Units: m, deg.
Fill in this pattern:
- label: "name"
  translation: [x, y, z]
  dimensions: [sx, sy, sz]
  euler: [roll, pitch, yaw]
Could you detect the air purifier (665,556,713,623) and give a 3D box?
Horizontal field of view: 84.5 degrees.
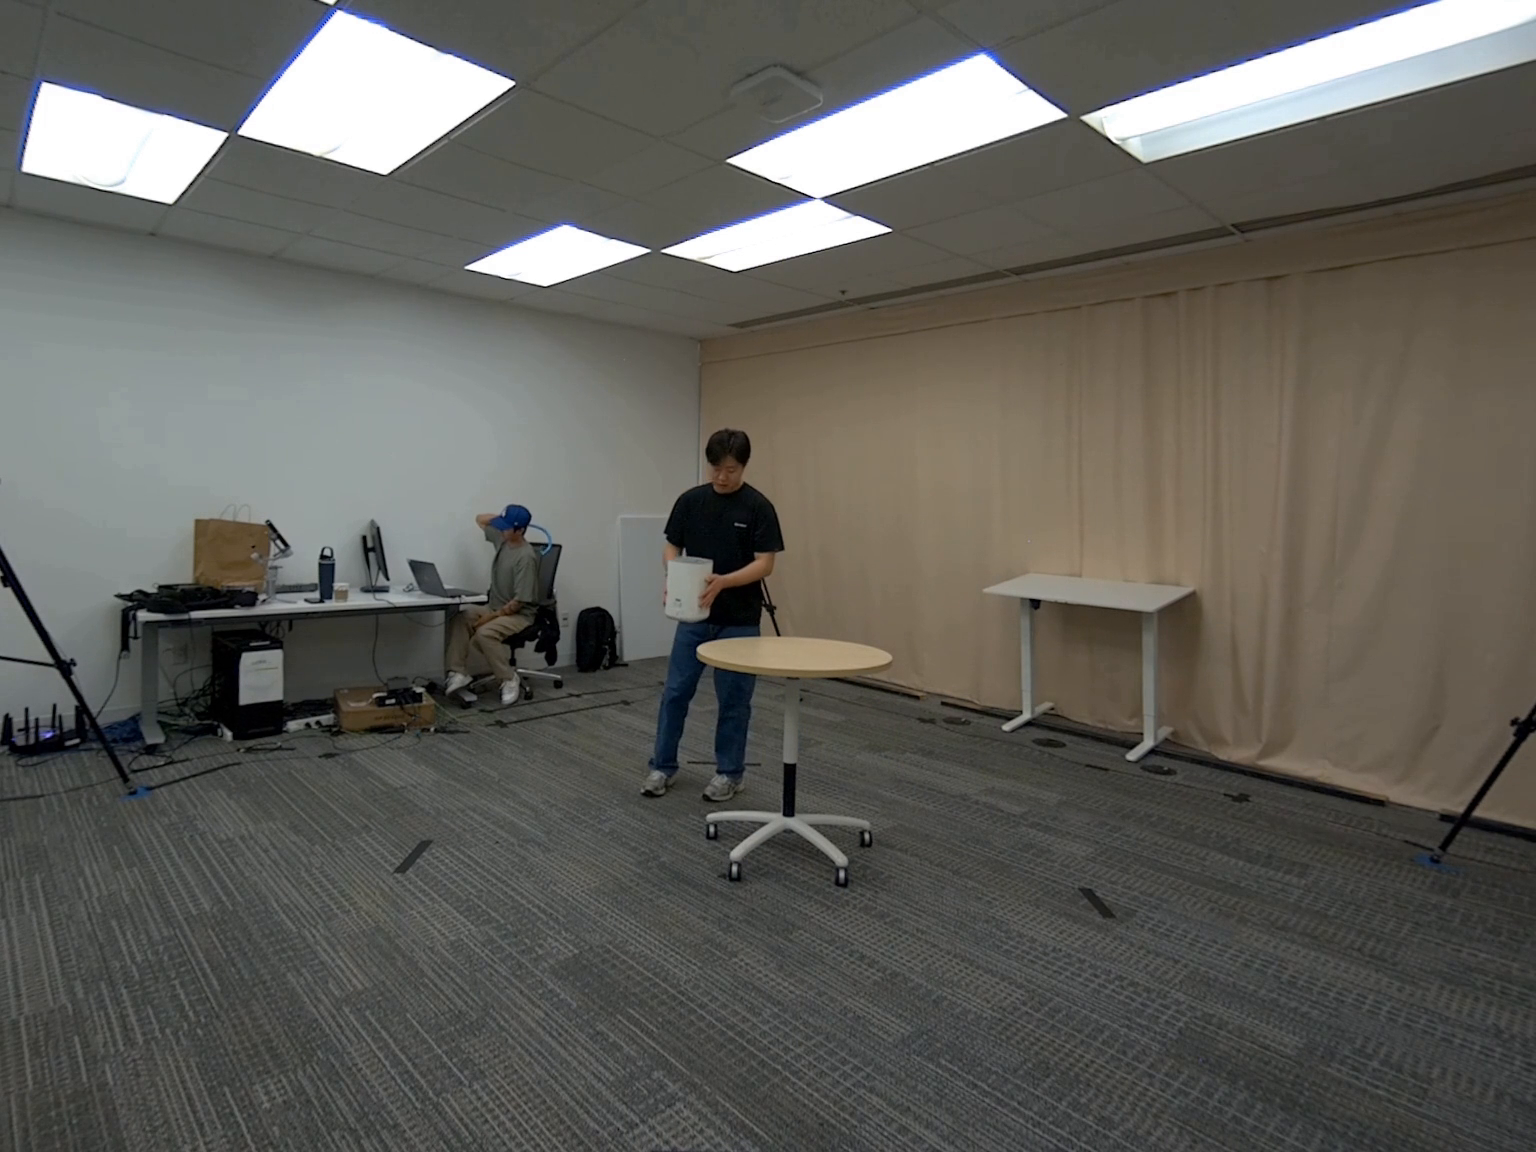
- label: "air purifier"
  translation: [-0.356, 0.059, 3.704]
  dimensions: [0.174, 0.264, 0.169]
  euler: [8, 7, 25]
